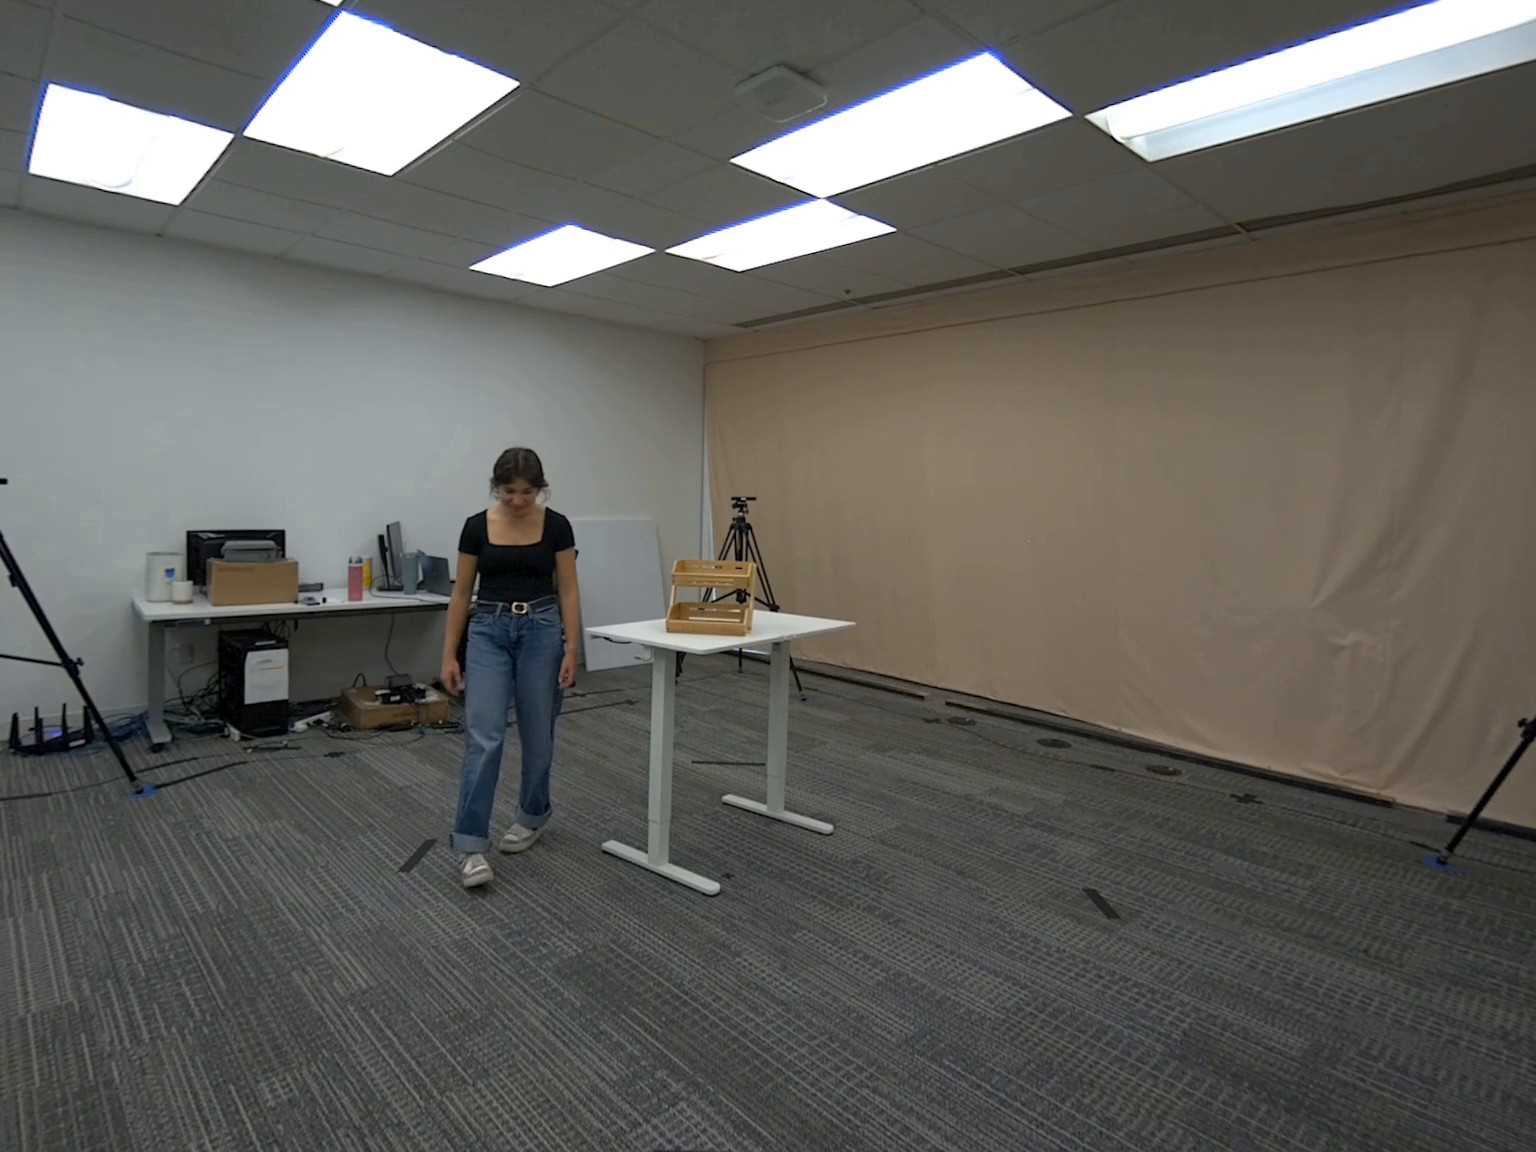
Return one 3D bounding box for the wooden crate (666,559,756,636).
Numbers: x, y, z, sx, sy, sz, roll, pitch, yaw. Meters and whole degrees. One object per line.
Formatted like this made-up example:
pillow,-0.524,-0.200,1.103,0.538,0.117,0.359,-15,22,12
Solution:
wooden crate,-0.232,0.079,3.263,0.326,0.273,0.301,2,4,6
